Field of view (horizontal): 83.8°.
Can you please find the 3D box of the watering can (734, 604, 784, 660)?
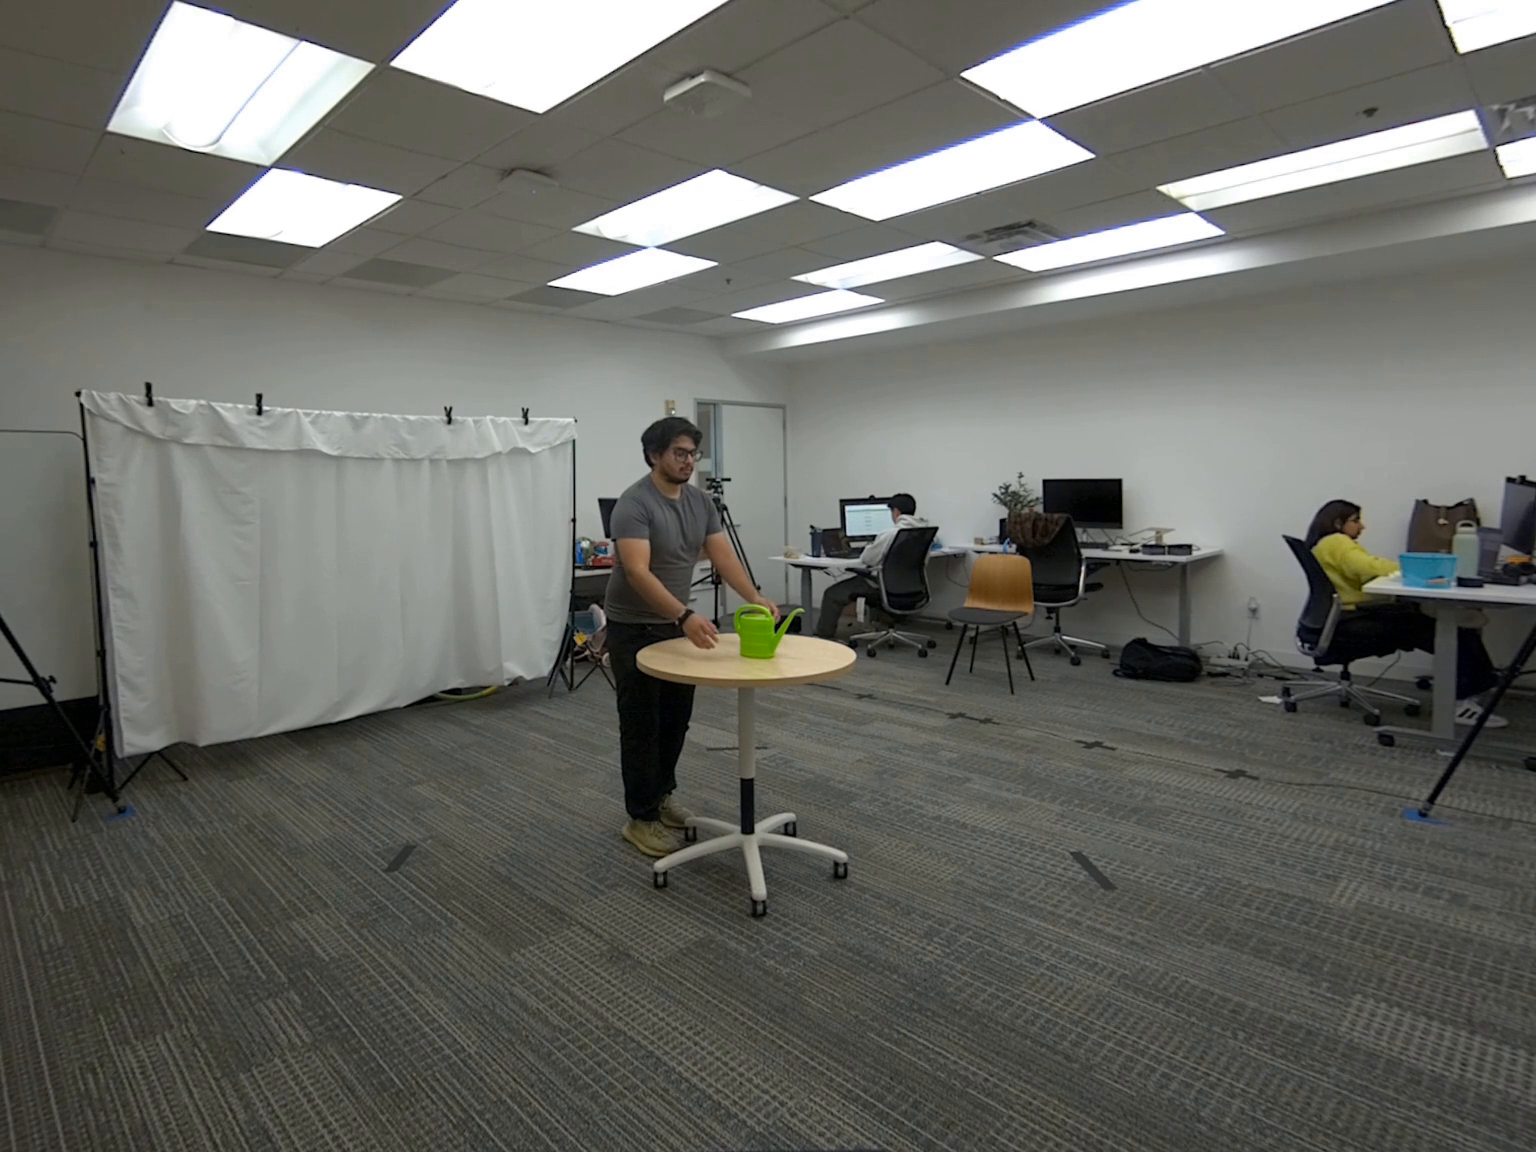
[{"bbox_3d":[-0.012,0.192,2.921,0.095,0.176,0.287,-8,8,-42],"label":"watering can"}]
